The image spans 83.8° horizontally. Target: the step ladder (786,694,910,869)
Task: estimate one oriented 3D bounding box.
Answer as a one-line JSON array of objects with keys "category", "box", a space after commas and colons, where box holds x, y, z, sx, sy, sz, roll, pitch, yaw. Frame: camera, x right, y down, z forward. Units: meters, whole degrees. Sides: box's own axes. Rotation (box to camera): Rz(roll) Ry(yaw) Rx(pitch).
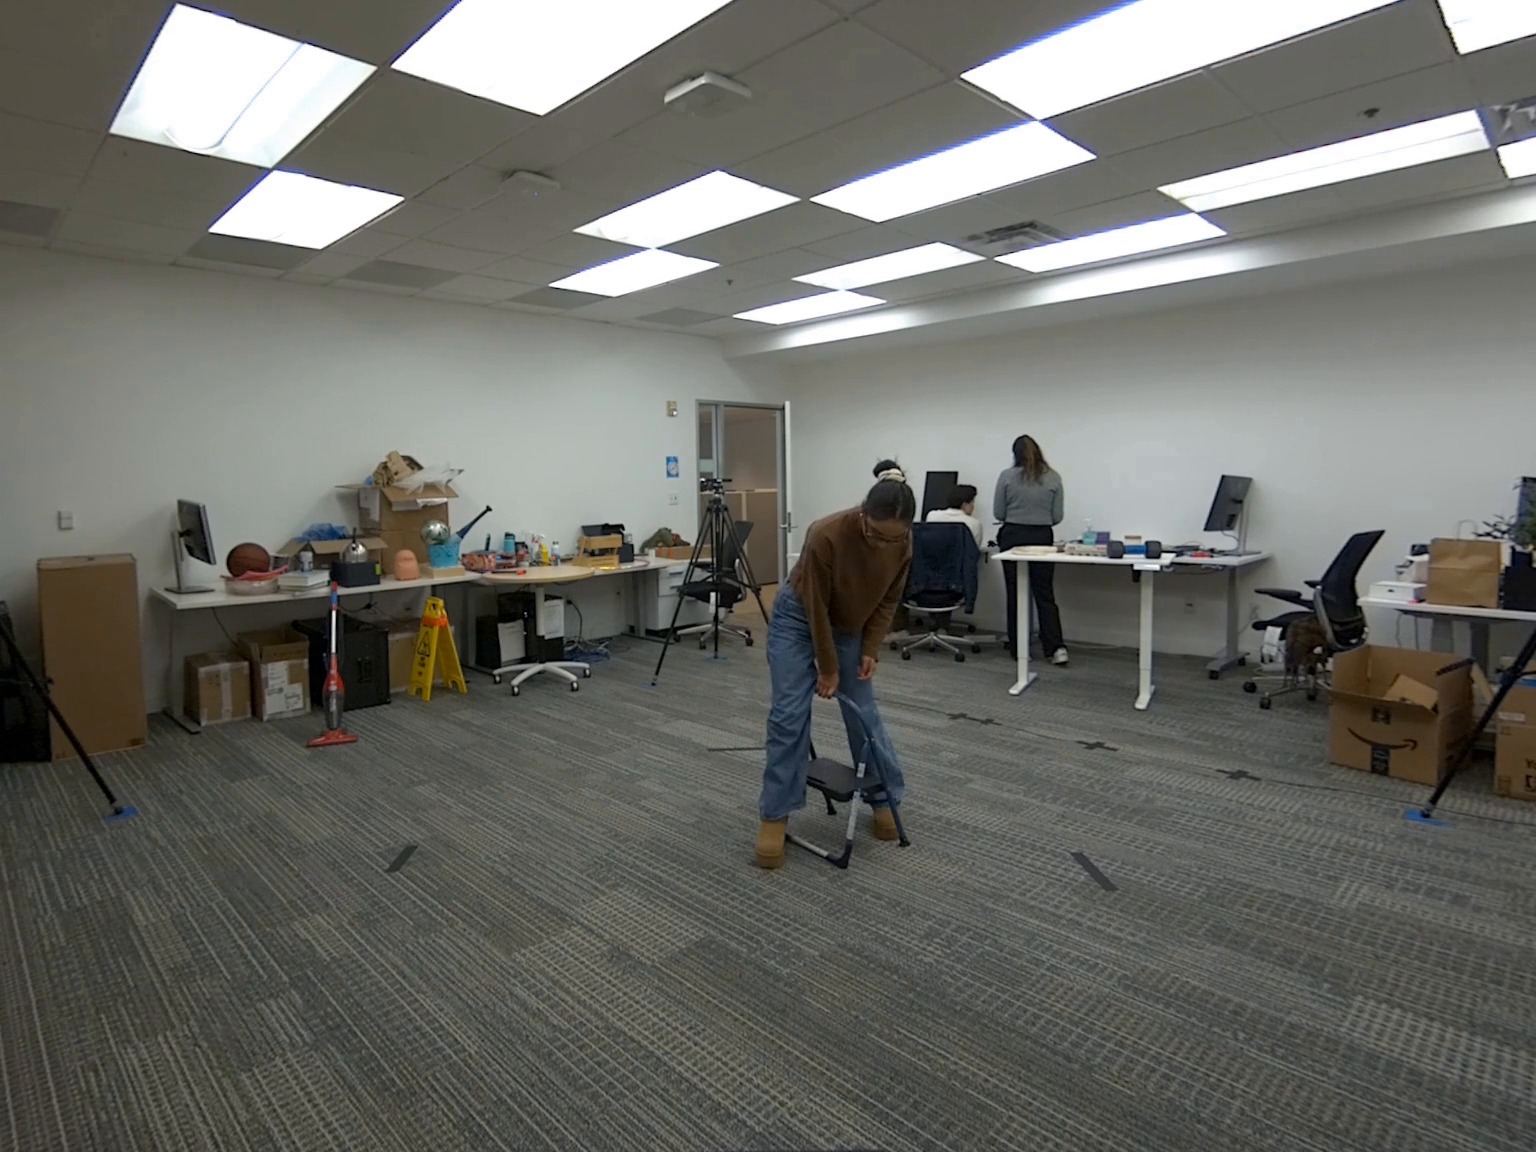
[{"category": "step ladder", "box": [0.268, 0.717, 3.286, 0.340, 0.604, 0.443, -5, 5, -38]}]
